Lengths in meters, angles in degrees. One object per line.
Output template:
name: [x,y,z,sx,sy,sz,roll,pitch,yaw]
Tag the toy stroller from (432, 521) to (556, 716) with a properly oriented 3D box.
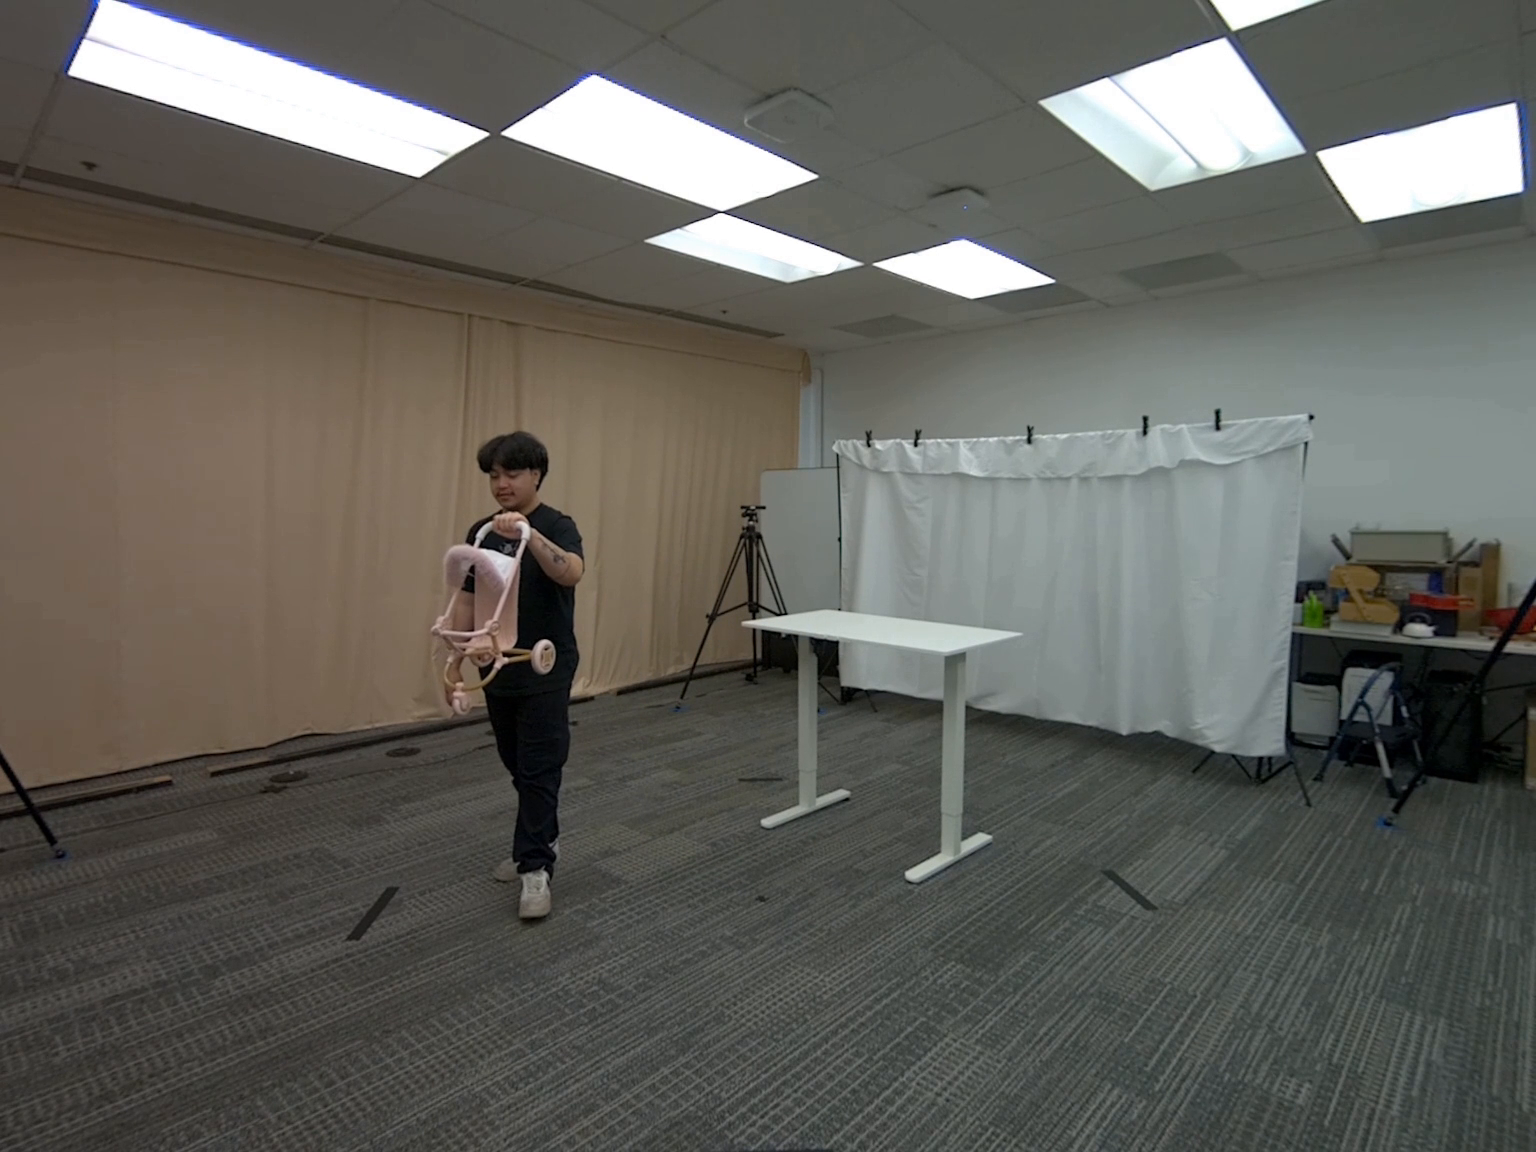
toy stroller: [-0.875,0.126,2.592,0.289,0.530,0.335,3,14,28]
